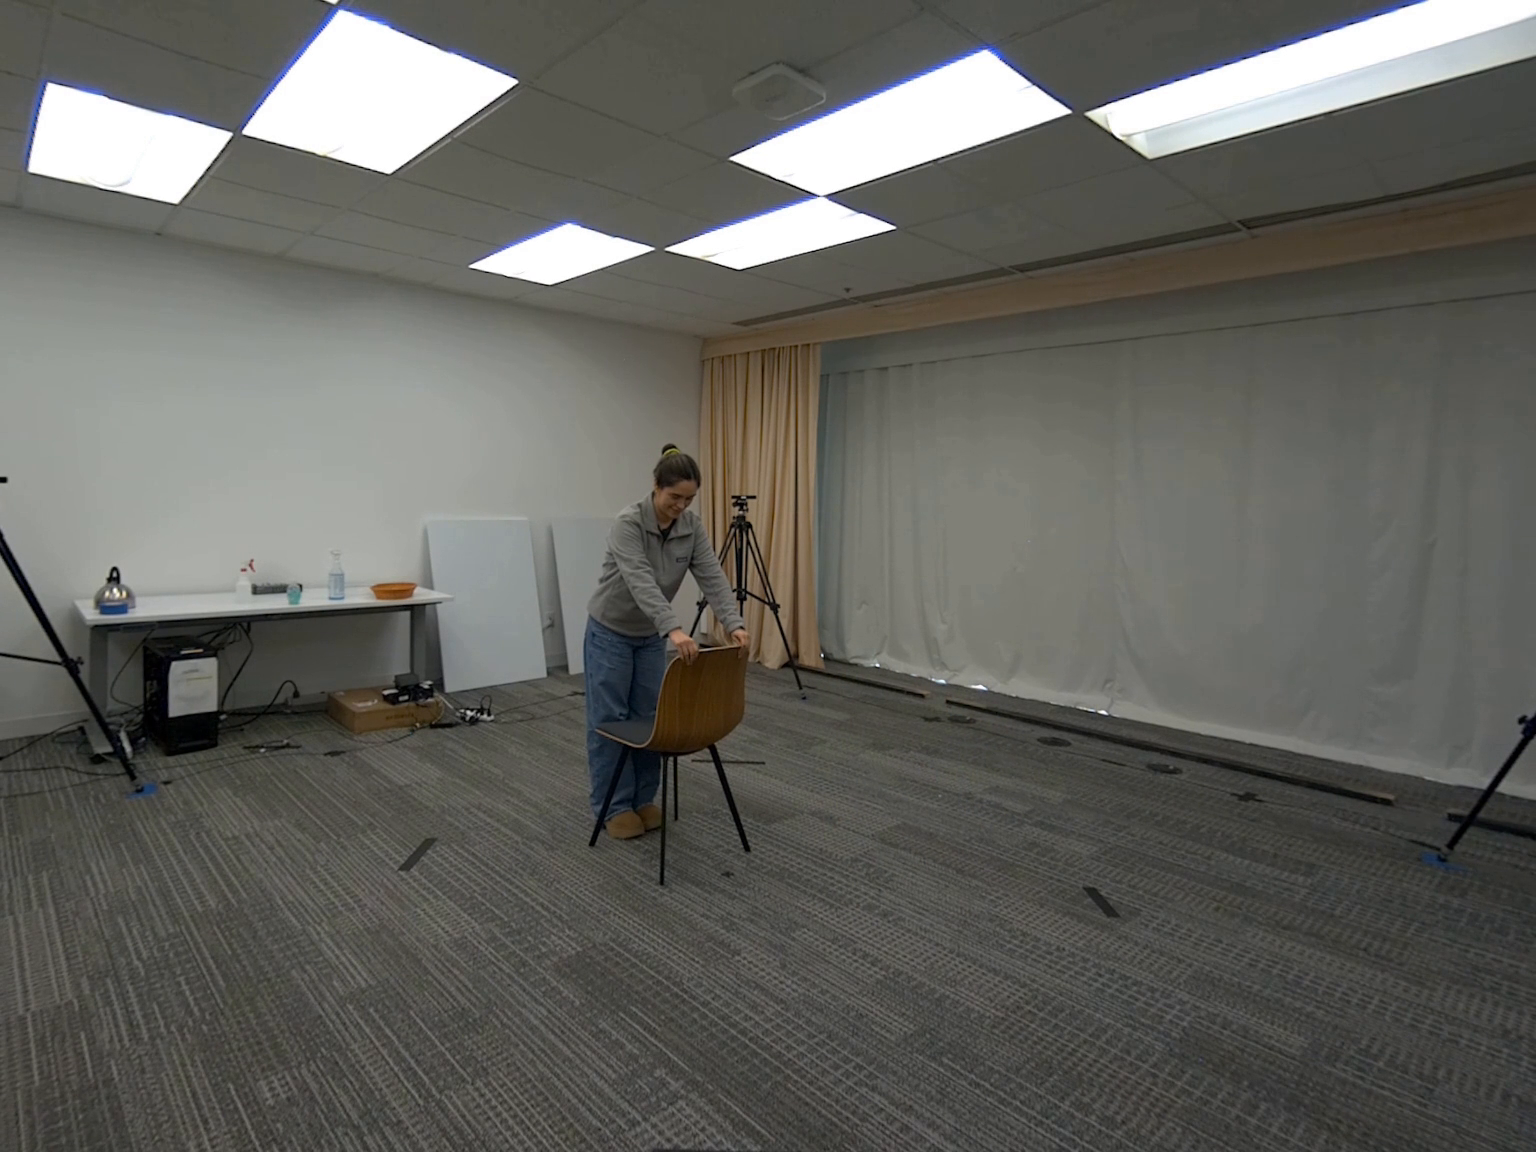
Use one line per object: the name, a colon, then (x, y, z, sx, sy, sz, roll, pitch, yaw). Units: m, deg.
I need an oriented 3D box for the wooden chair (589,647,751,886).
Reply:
wooden chair: (-0.382, 0.654, 3.285, 0.467, 0.874, 0.537, -2, 9, -45)
